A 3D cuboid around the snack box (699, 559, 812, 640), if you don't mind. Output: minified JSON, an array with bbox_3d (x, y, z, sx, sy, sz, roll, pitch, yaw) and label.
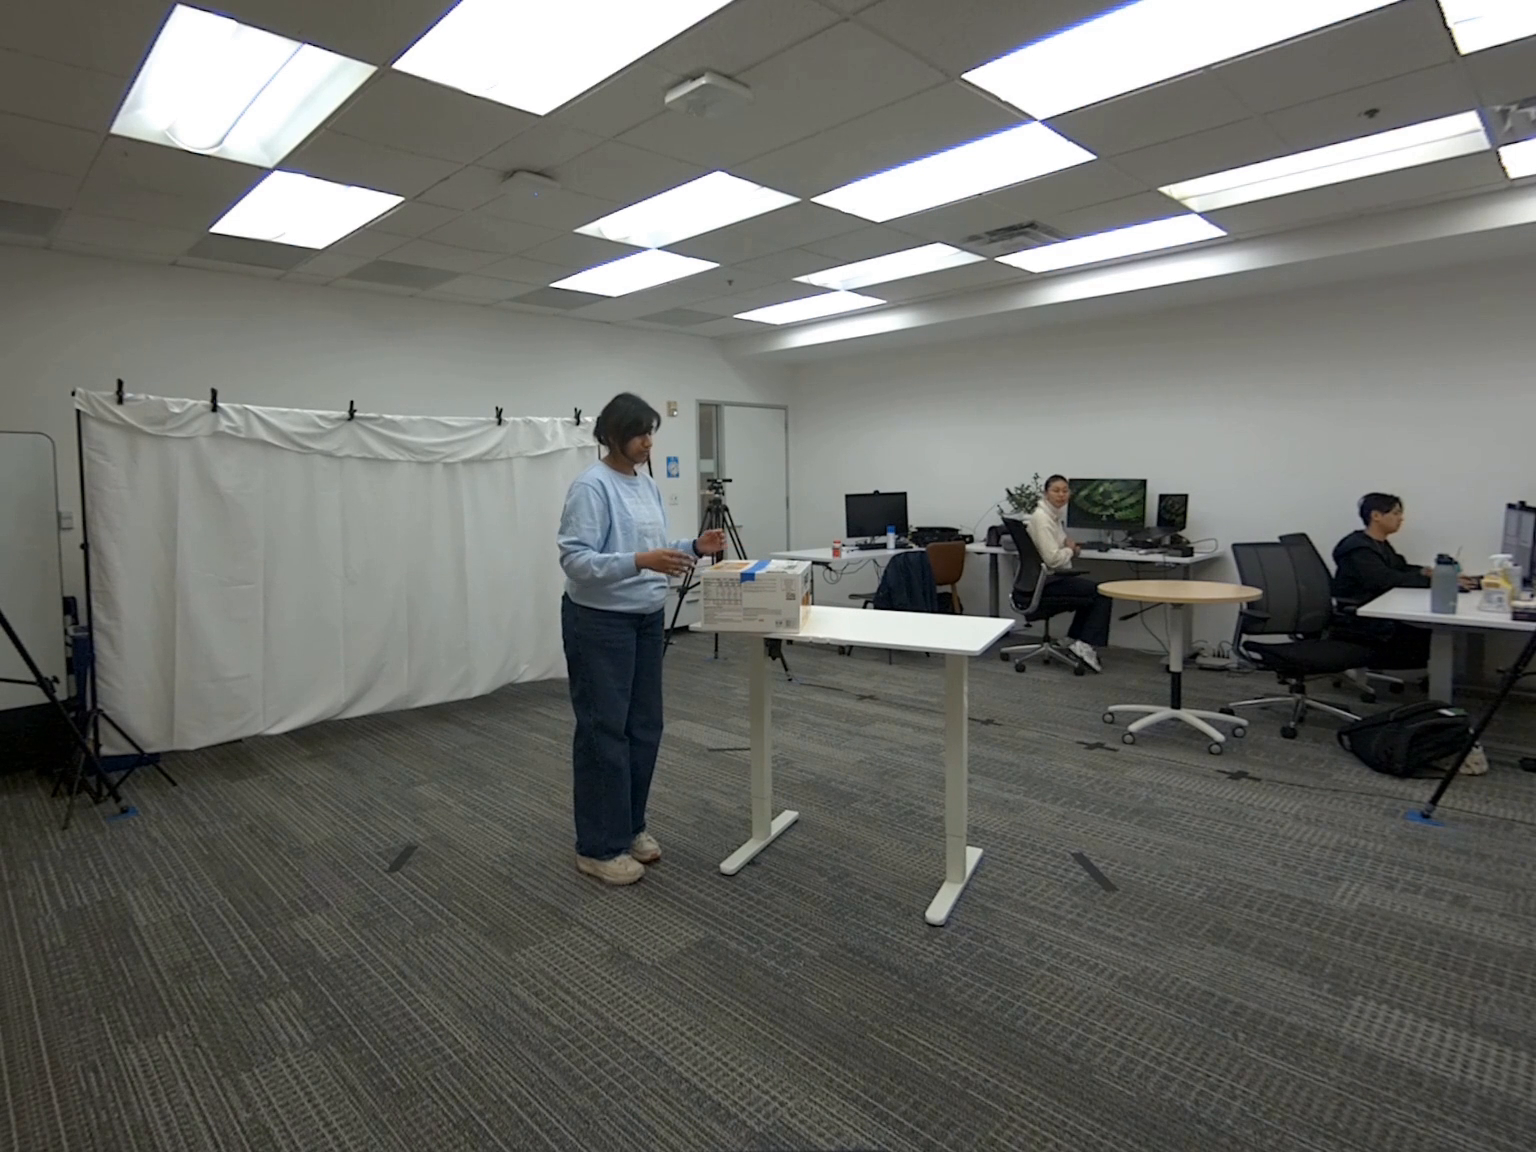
[{"bbox_3d":[-0.038,0.068,3.046,0.344,0.205,0.402,0,6,11],"label":"snack box"}]
